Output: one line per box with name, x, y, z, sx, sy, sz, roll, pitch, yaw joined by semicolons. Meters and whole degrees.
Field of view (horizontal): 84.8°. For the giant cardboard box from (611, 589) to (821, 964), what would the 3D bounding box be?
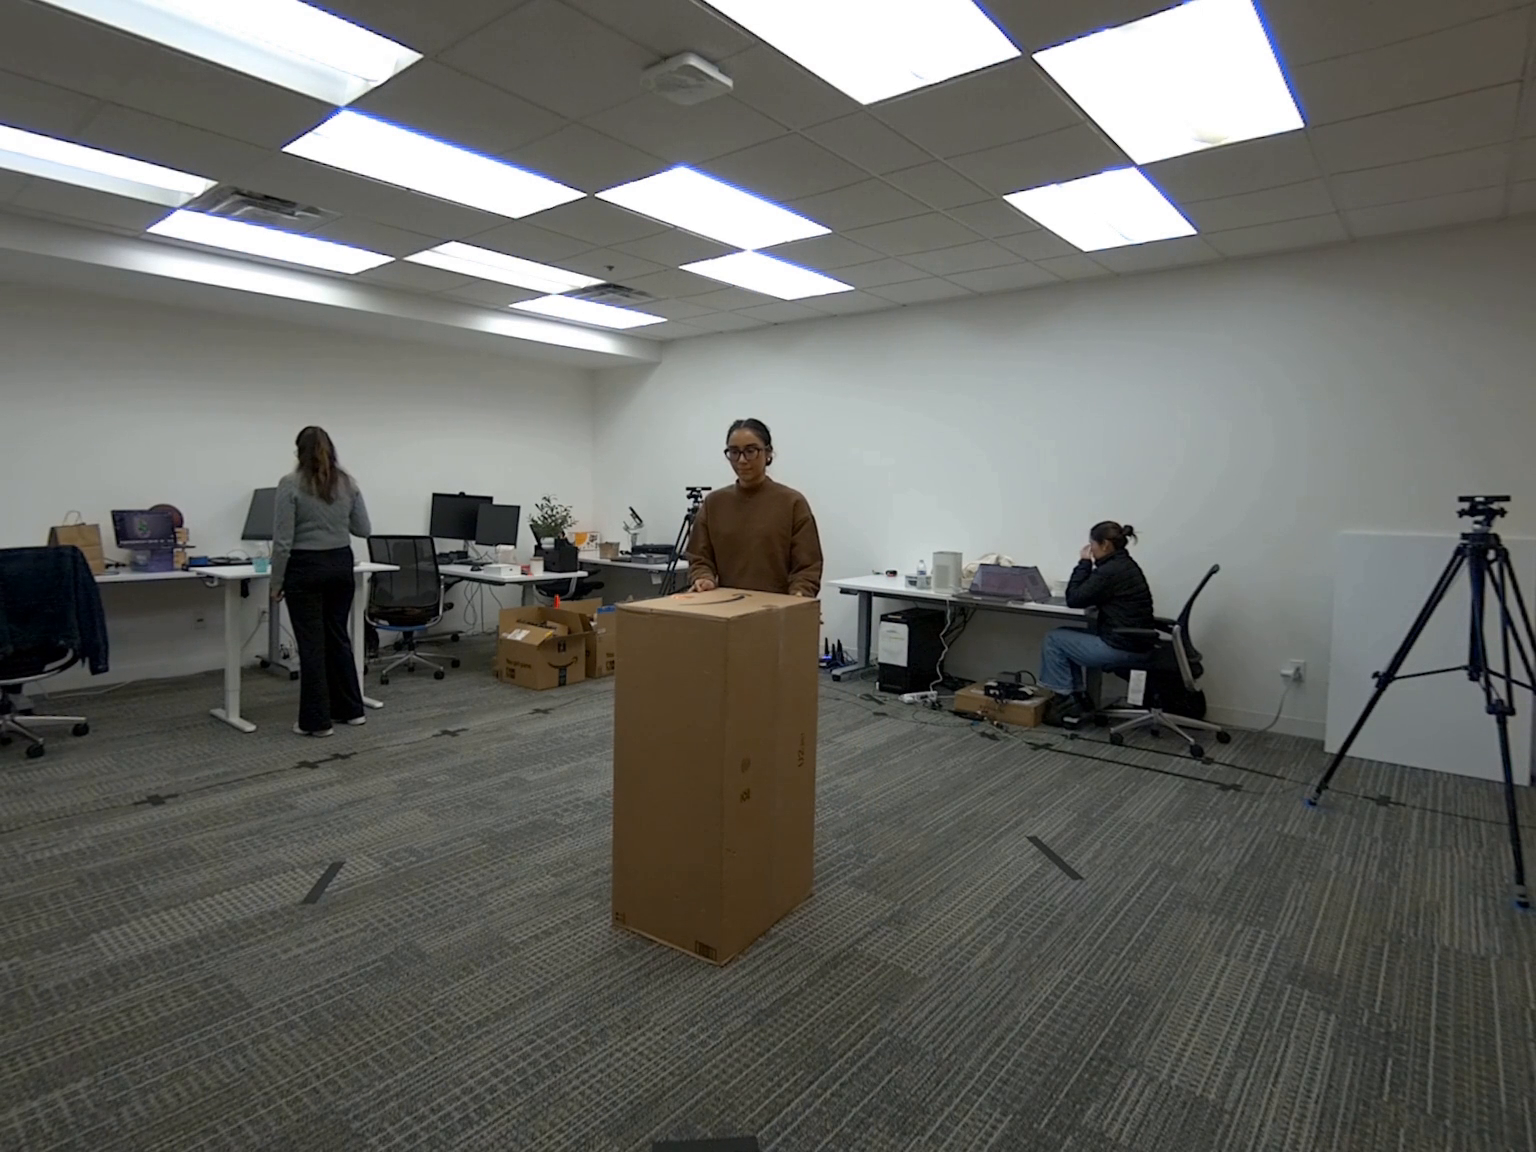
giant cardboard box;-0.171;0.589;2.781;0.439;1.023;0.561;4;4;33
